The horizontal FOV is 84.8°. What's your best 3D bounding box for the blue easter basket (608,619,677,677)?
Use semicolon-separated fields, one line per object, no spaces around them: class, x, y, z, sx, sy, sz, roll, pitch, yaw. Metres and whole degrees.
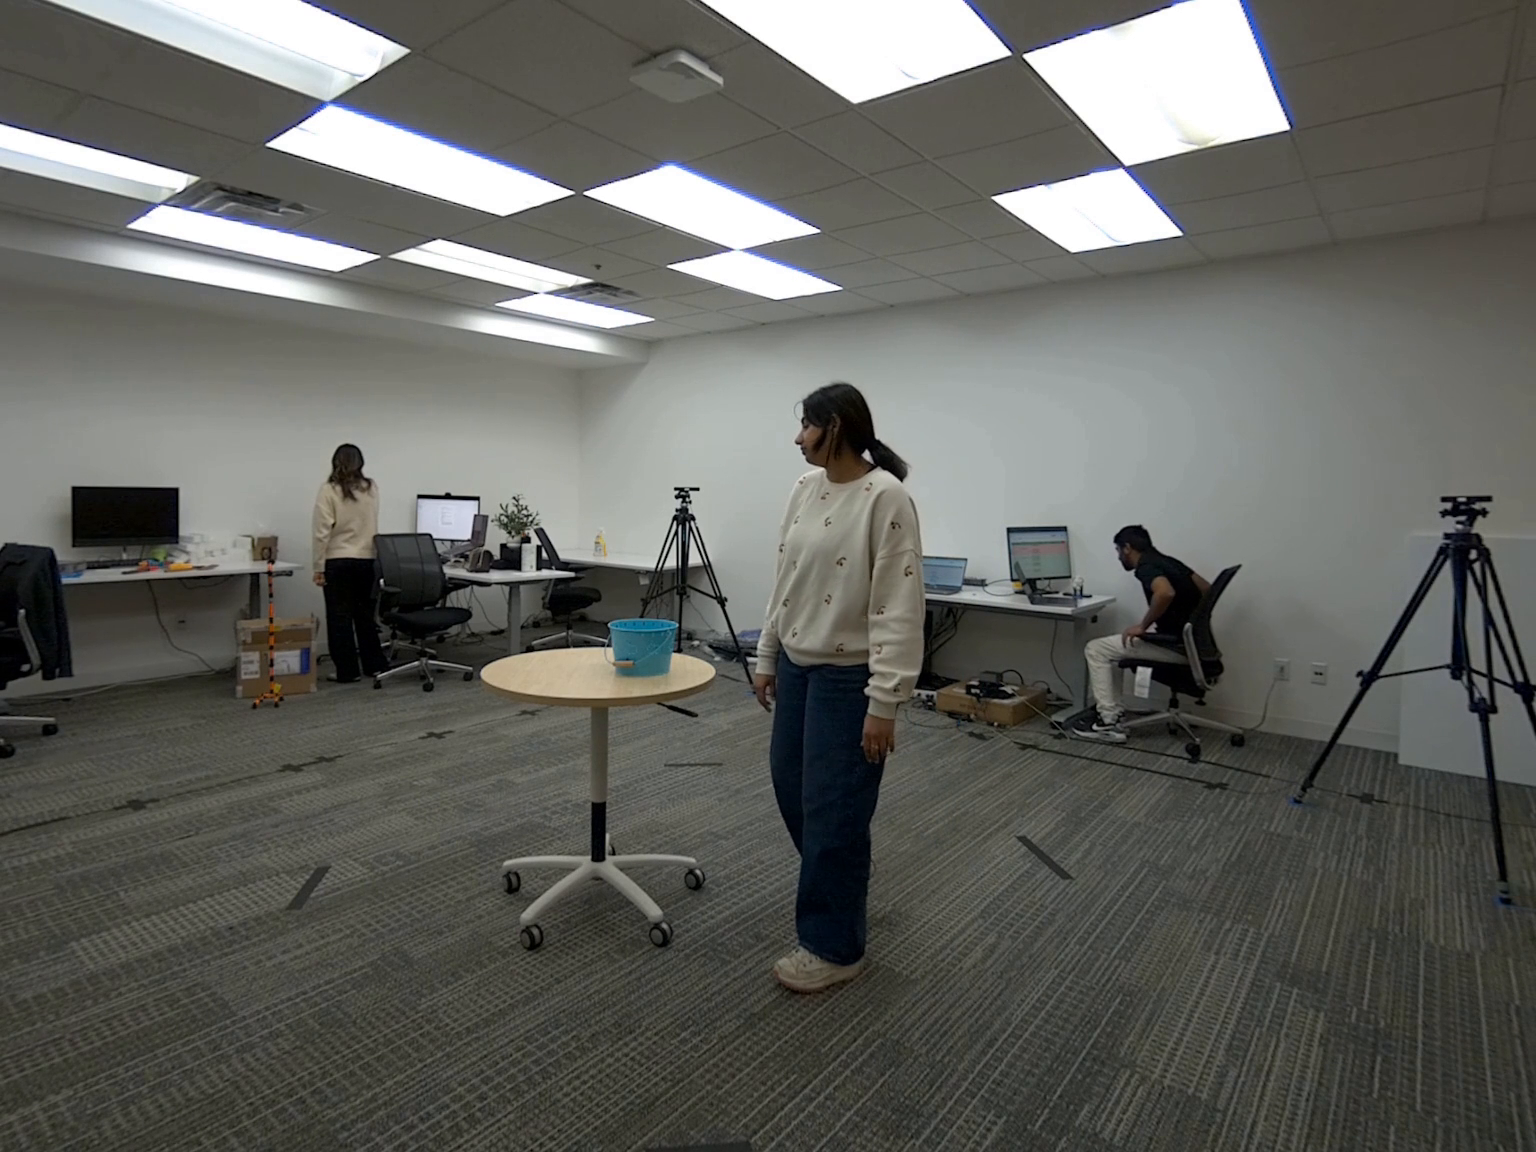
blue easter basket;-0.436;0.239;2.806;0.243;0.155;0.245;1;5;-2
